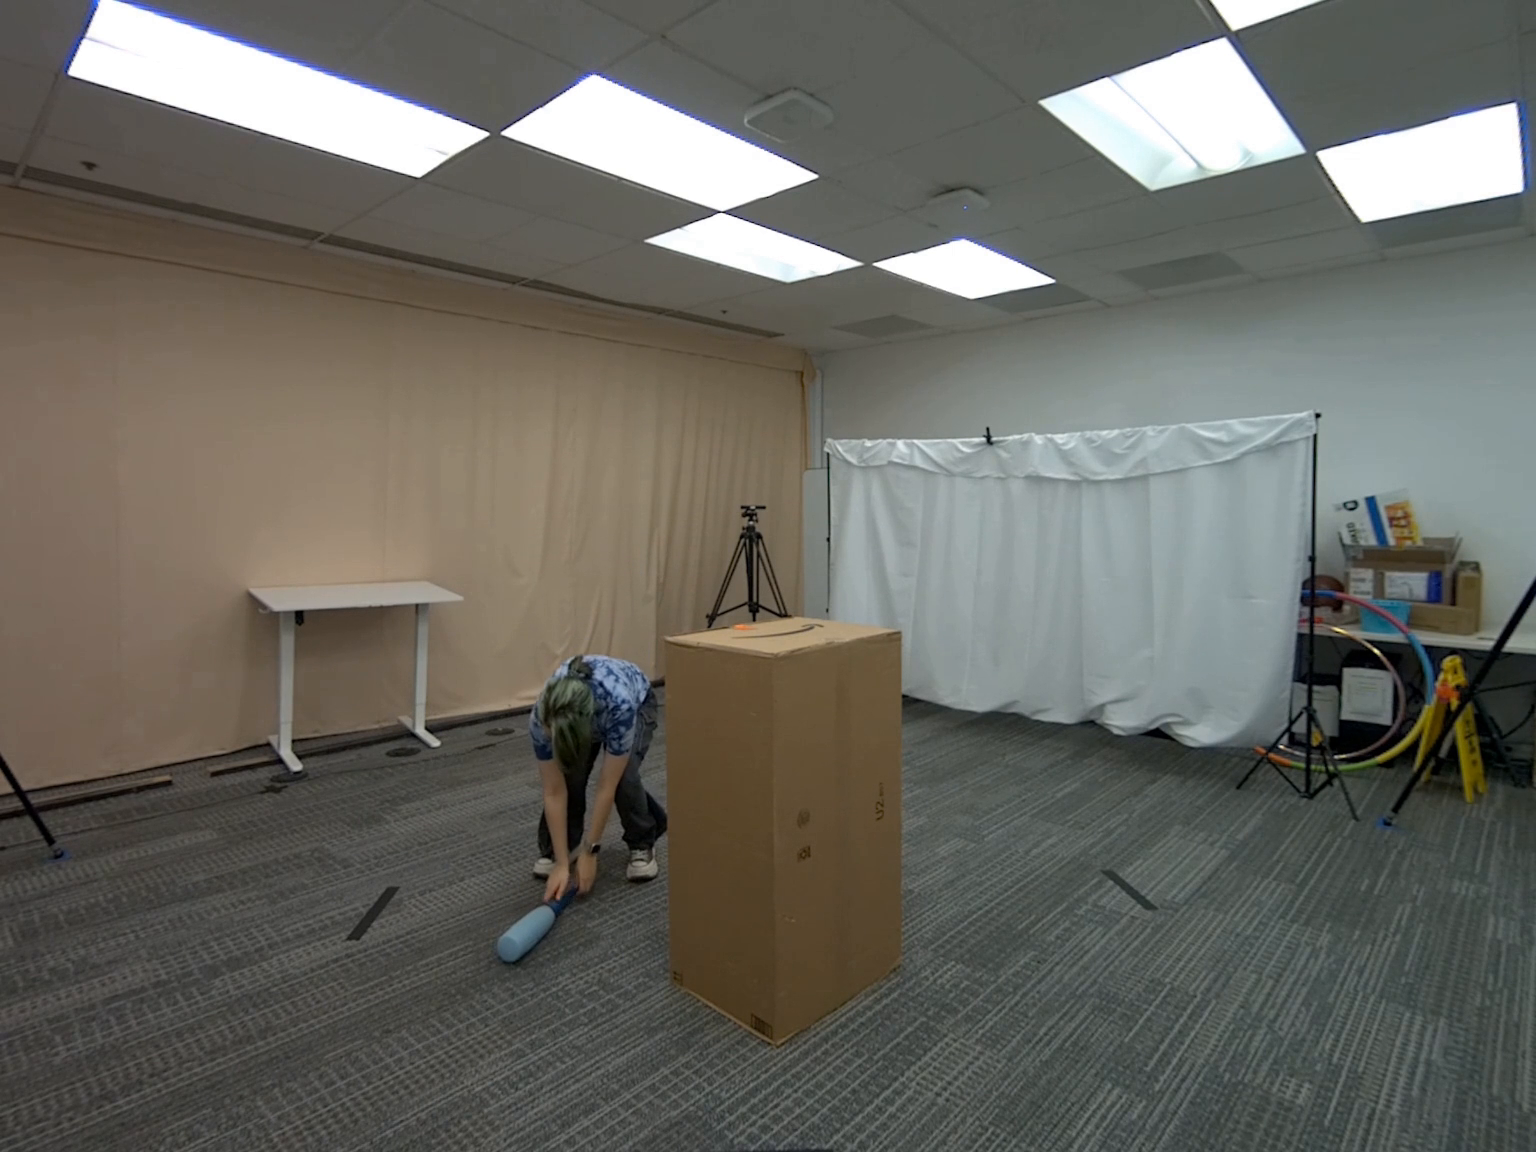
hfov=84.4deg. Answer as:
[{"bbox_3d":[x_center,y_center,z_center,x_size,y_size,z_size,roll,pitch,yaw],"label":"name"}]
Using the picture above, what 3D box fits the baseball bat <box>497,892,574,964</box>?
[{"bbox_3d":[-0.734,1.128,2.806,0.090,0.089,0.535,1,1,11],"label":"baseball bat"}]
